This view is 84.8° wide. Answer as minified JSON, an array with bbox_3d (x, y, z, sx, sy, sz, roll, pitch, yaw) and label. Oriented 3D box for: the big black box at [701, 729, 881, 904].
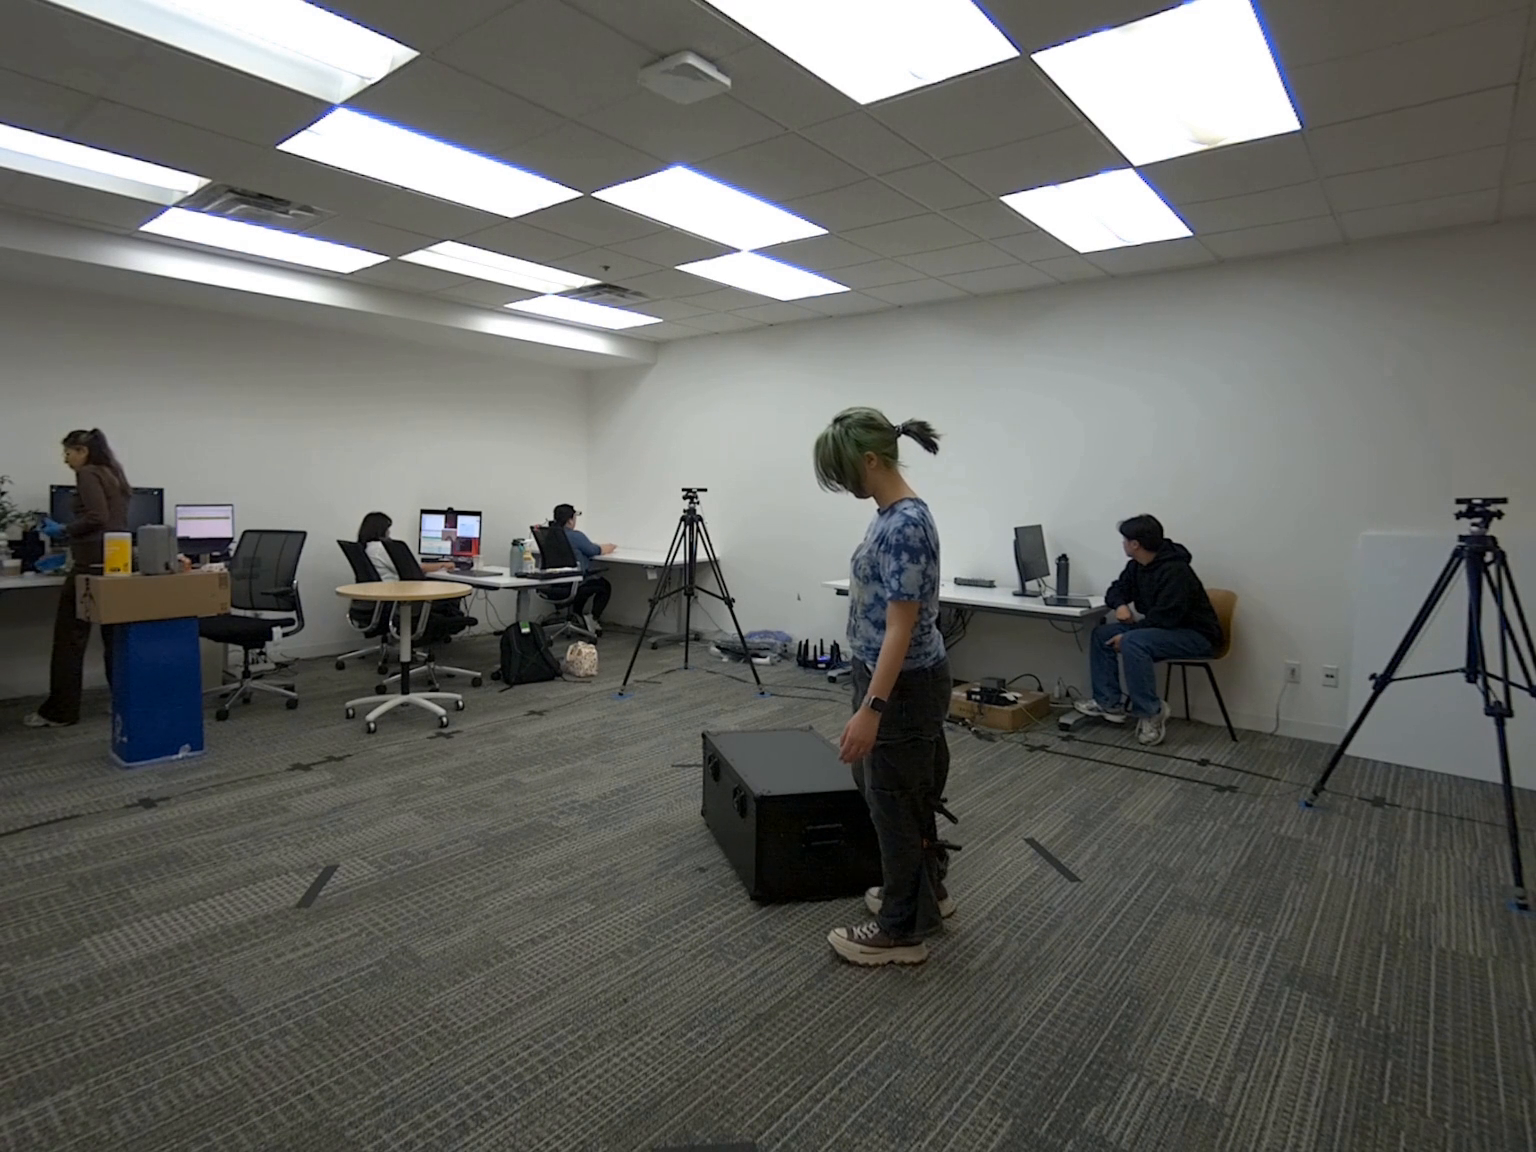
[{"bbox_3d":[0.064,0.872,3.221,0.513,0.395,0.879,0,5,-16],"label":"big black box"}]
